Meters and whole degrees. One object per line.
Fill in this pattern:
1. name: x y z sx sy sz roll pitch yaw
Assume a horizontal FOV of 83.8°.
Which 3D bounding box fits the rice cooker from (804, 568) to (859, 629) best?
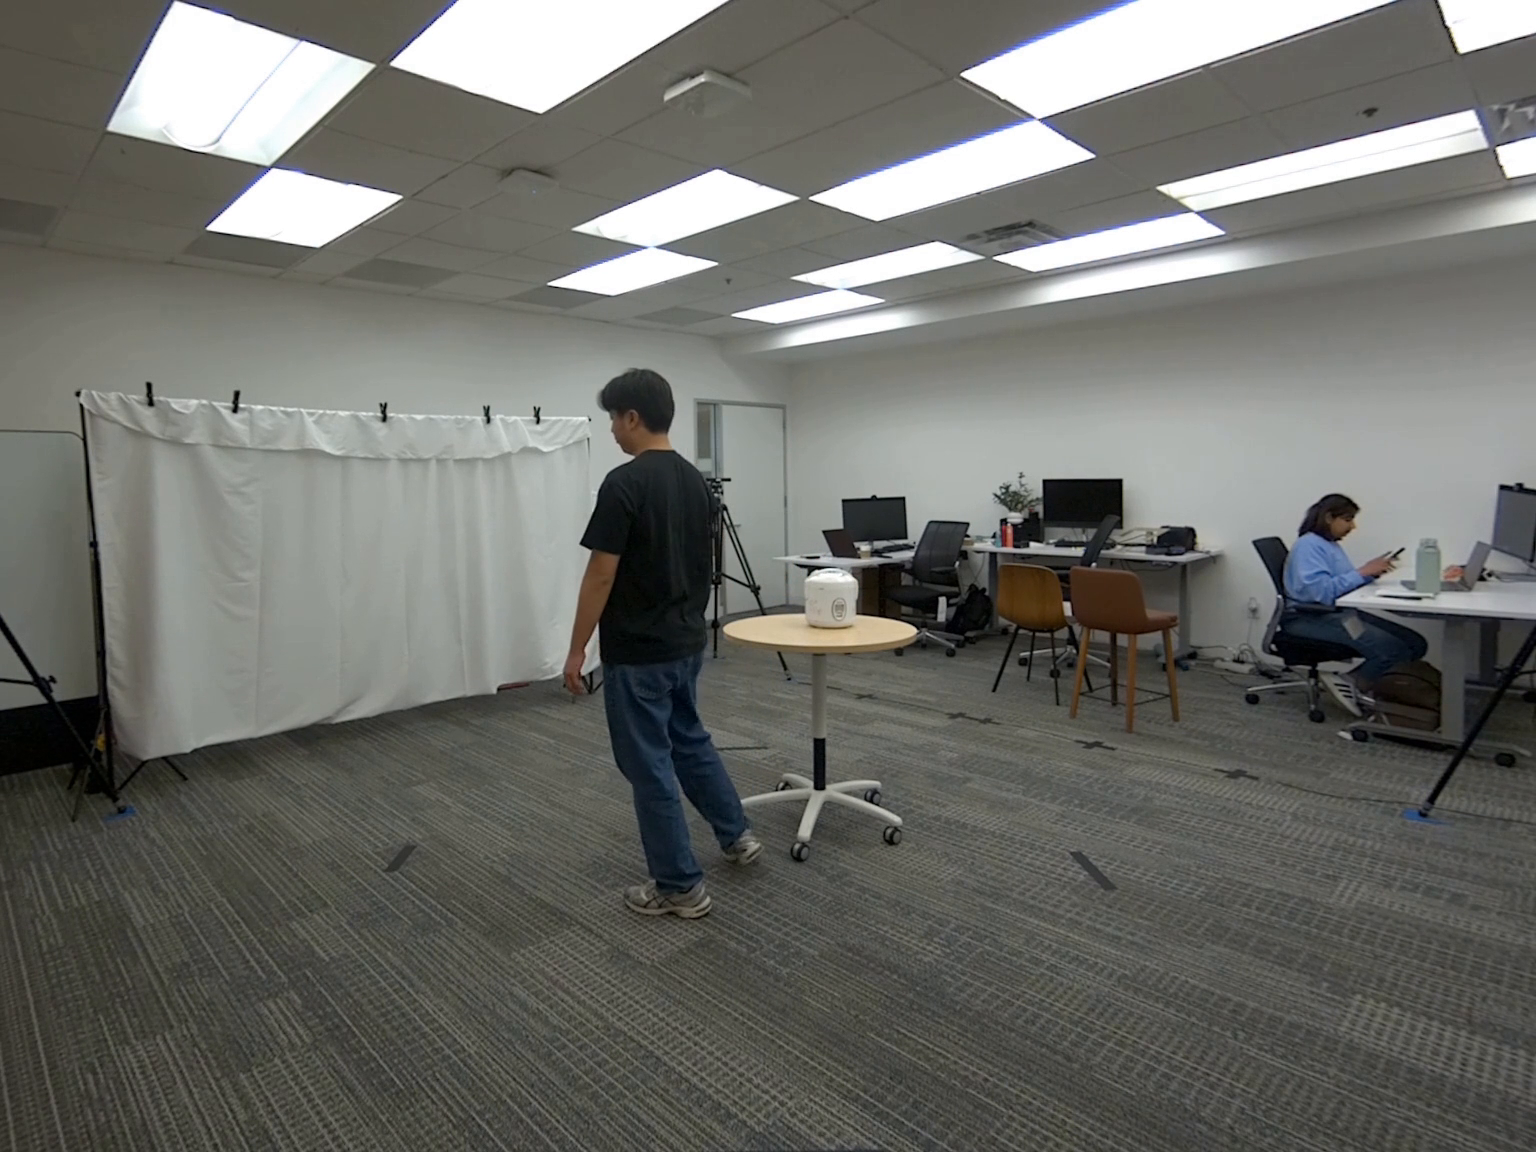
1. rice cooker: 0.258 0.084 3.462 0.218 0.232 0.221 -2 5 -13
